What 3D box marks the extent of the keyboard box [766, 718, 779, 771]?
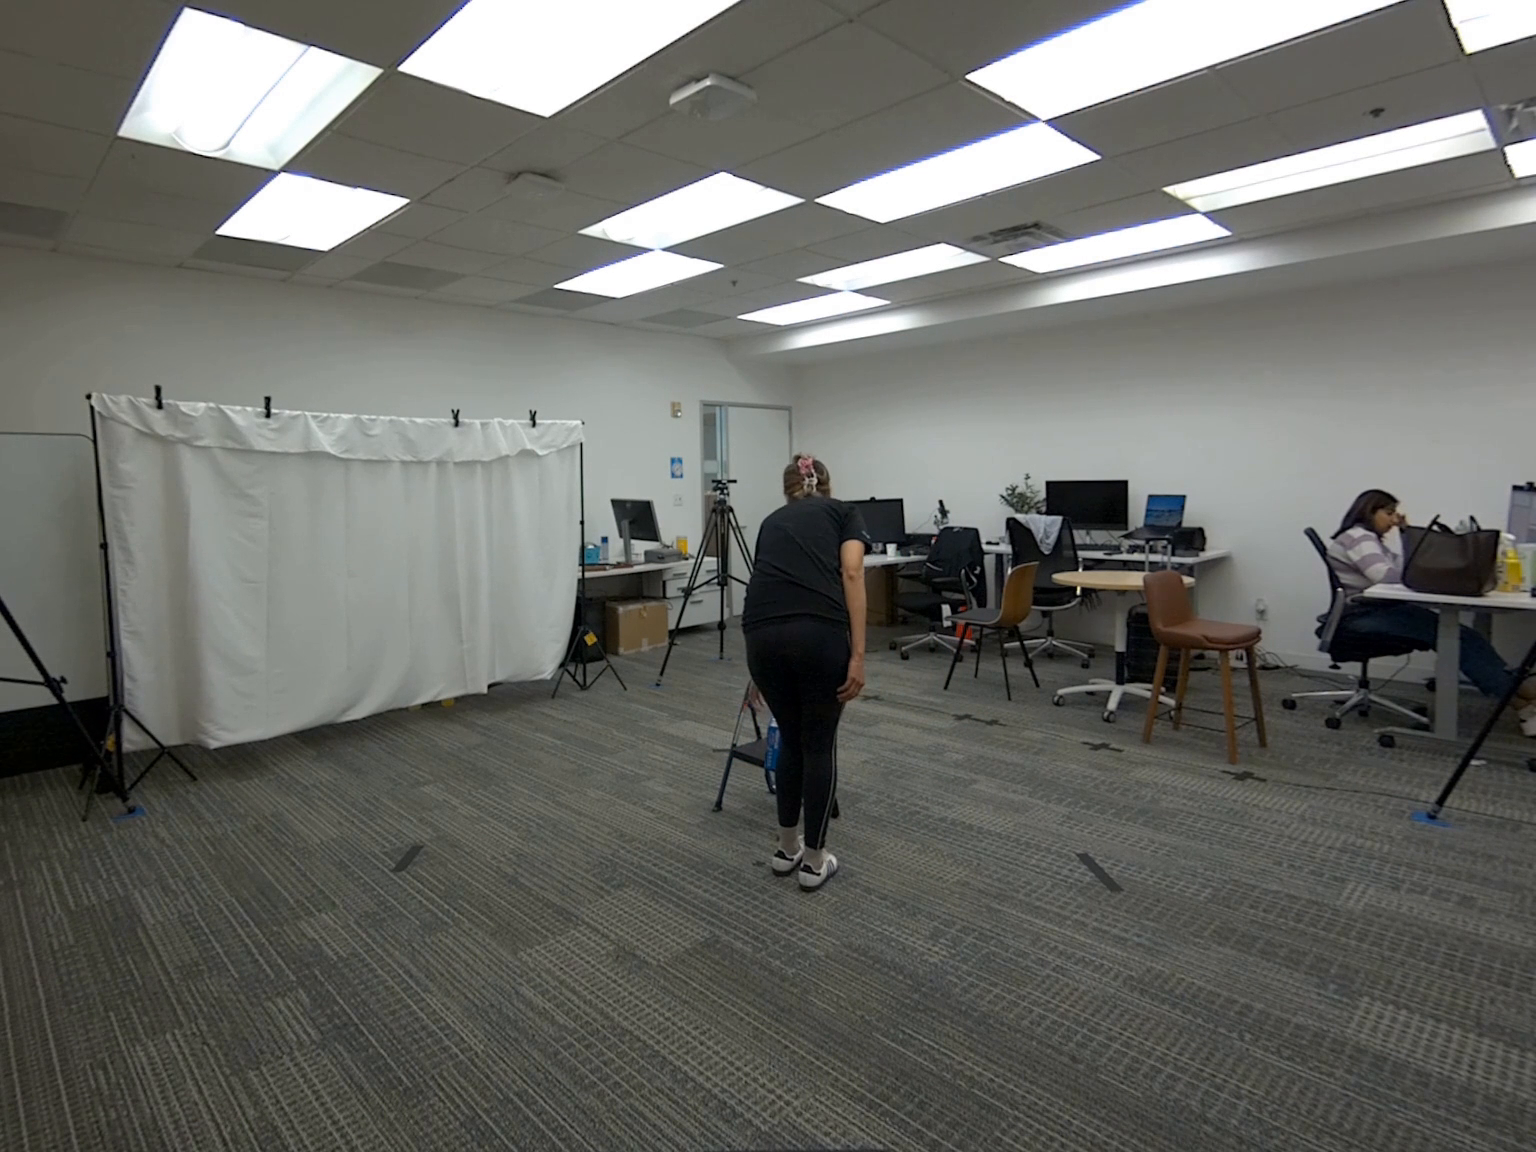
[{"bbox_3d":[0.050,0.647,3.553,0.059,0.175,0.436,6,7,4],"label":"keyboard box"}]
